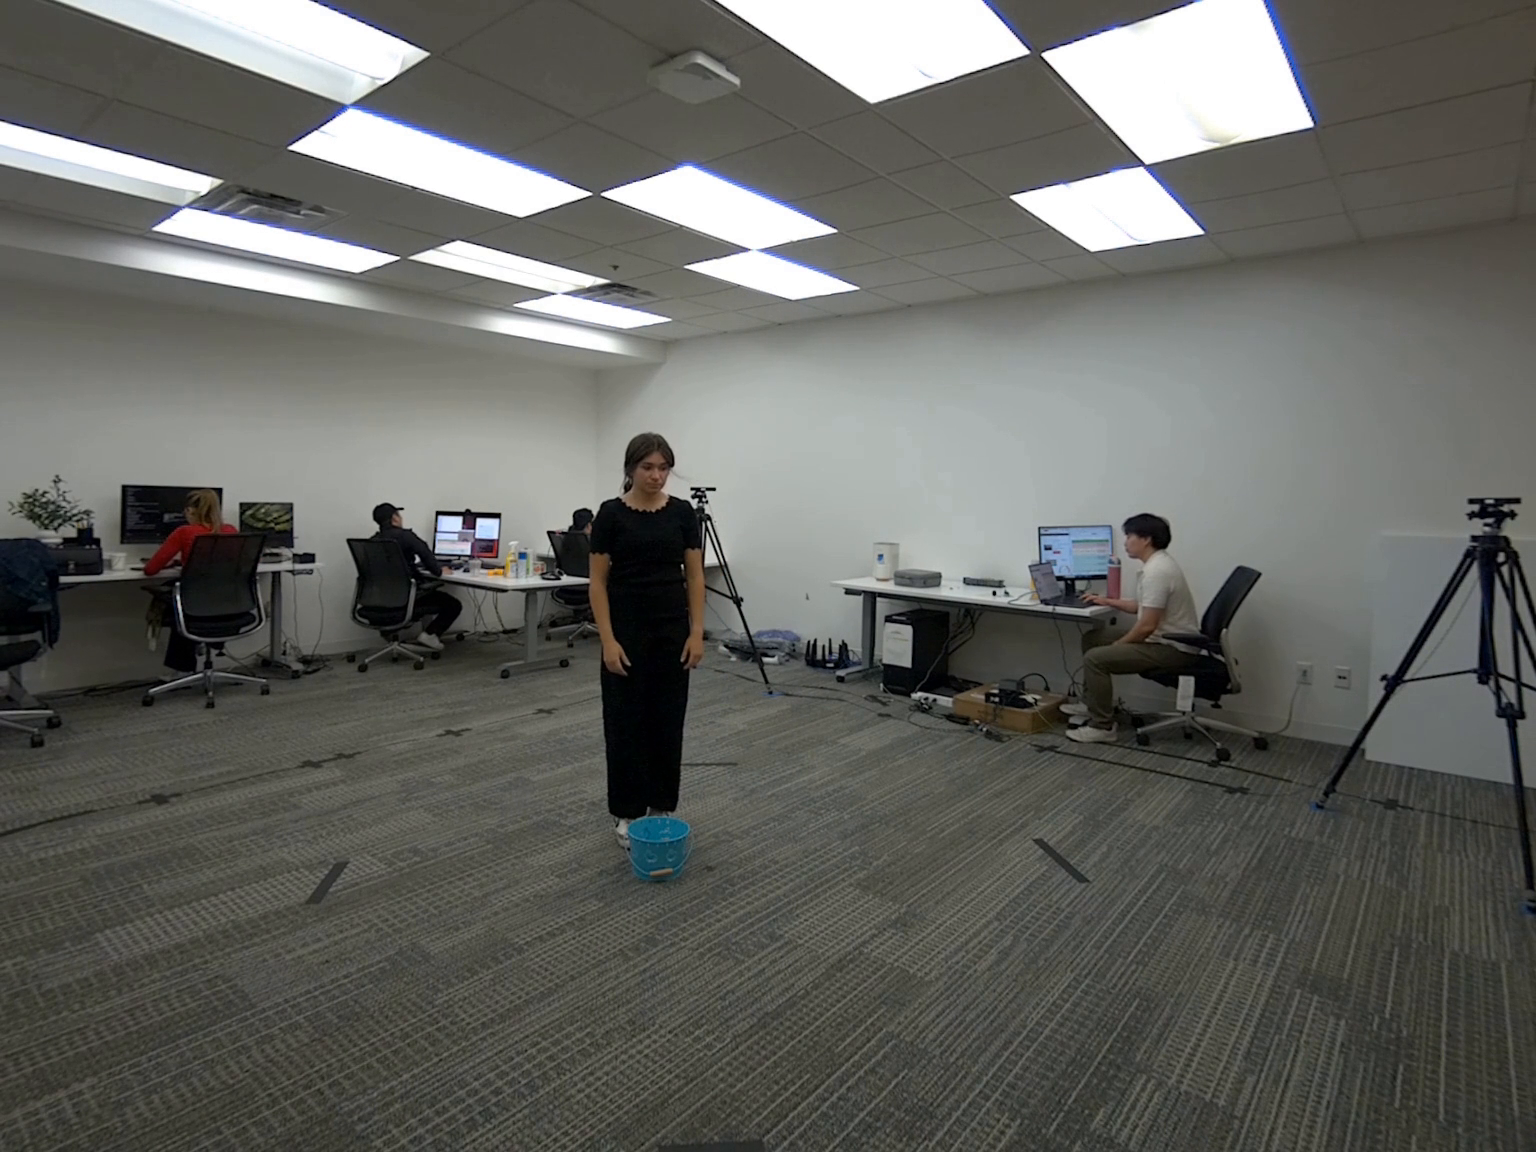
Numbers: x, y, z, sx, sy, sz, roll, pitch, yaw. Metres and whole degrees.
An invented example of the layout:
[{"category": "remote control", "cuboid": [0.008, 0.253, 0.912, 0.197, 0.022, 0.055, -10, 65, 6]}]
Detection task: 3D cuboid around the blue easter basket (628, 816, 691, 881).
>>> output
[{"category": "blue easter basket", "cuboid": [-0.415, 0.986, 3.083, 0.243, 0.155, 0.245, 0, 5, -2]}]
